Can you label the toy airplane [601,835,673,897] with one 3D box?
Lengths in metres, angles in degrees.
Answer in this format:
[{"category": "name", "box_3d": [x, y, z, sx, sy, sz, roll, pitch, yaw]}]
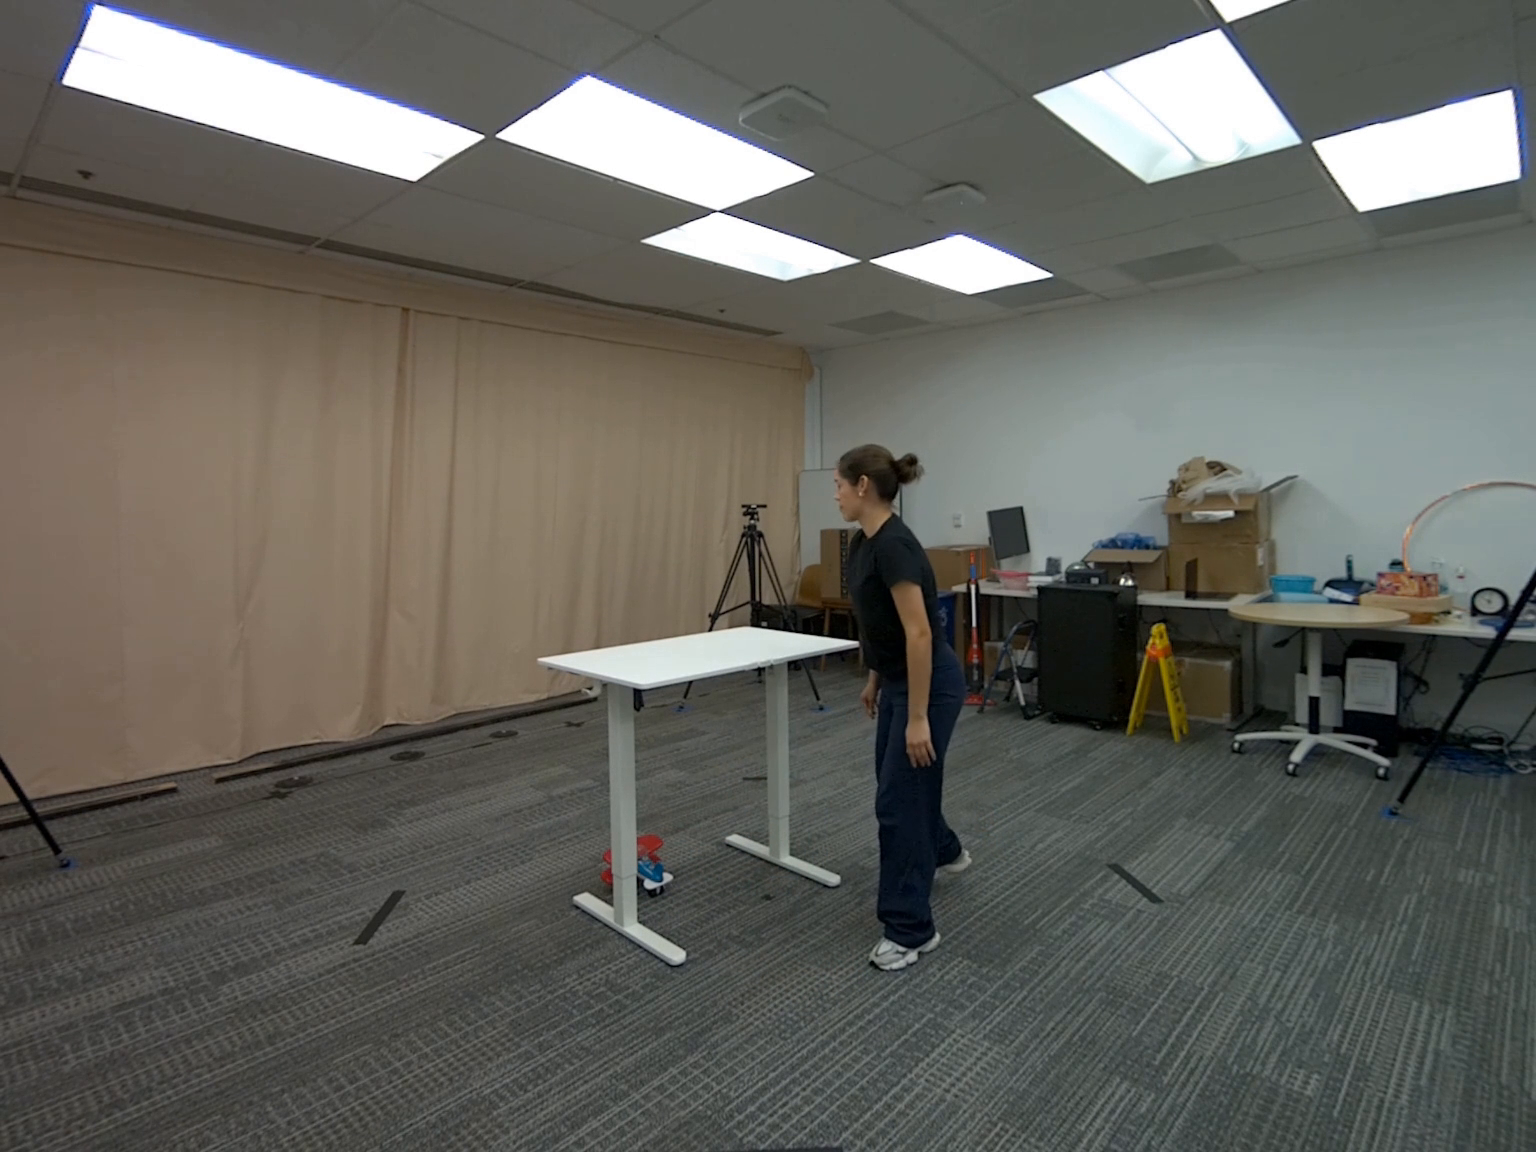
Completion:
[{"category": "toy airplane", "box_3d": [-0.452, 1.069, 3.089, 0.263, 0.156, 0.248, -2, 5, 15]}]
